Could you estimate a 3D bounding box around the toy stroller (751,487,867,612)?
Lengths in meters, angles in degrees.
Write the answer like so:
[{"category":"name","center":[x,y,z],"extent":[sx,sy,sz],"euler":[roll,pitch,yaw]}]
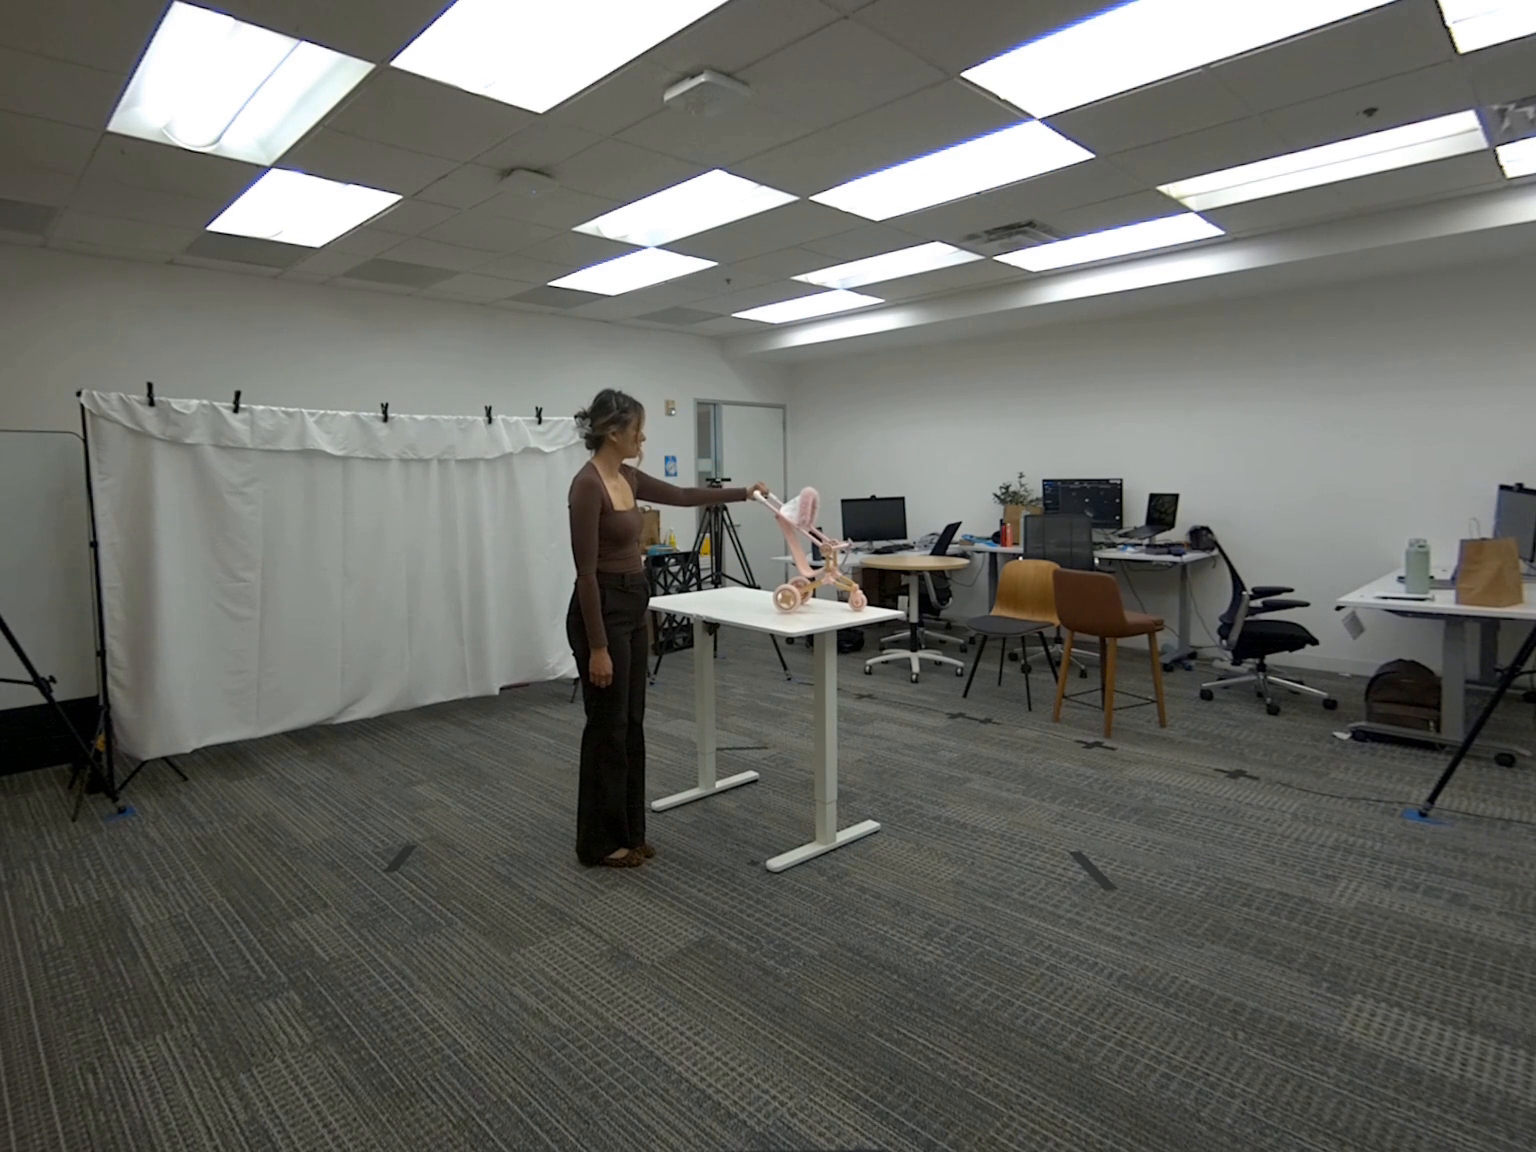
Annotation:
[{"category":"toy stroller","center":[0.183,-0.096,3.319],"extent":[0.346,0.535,0.277],"euler":[-12,0,20]}]
